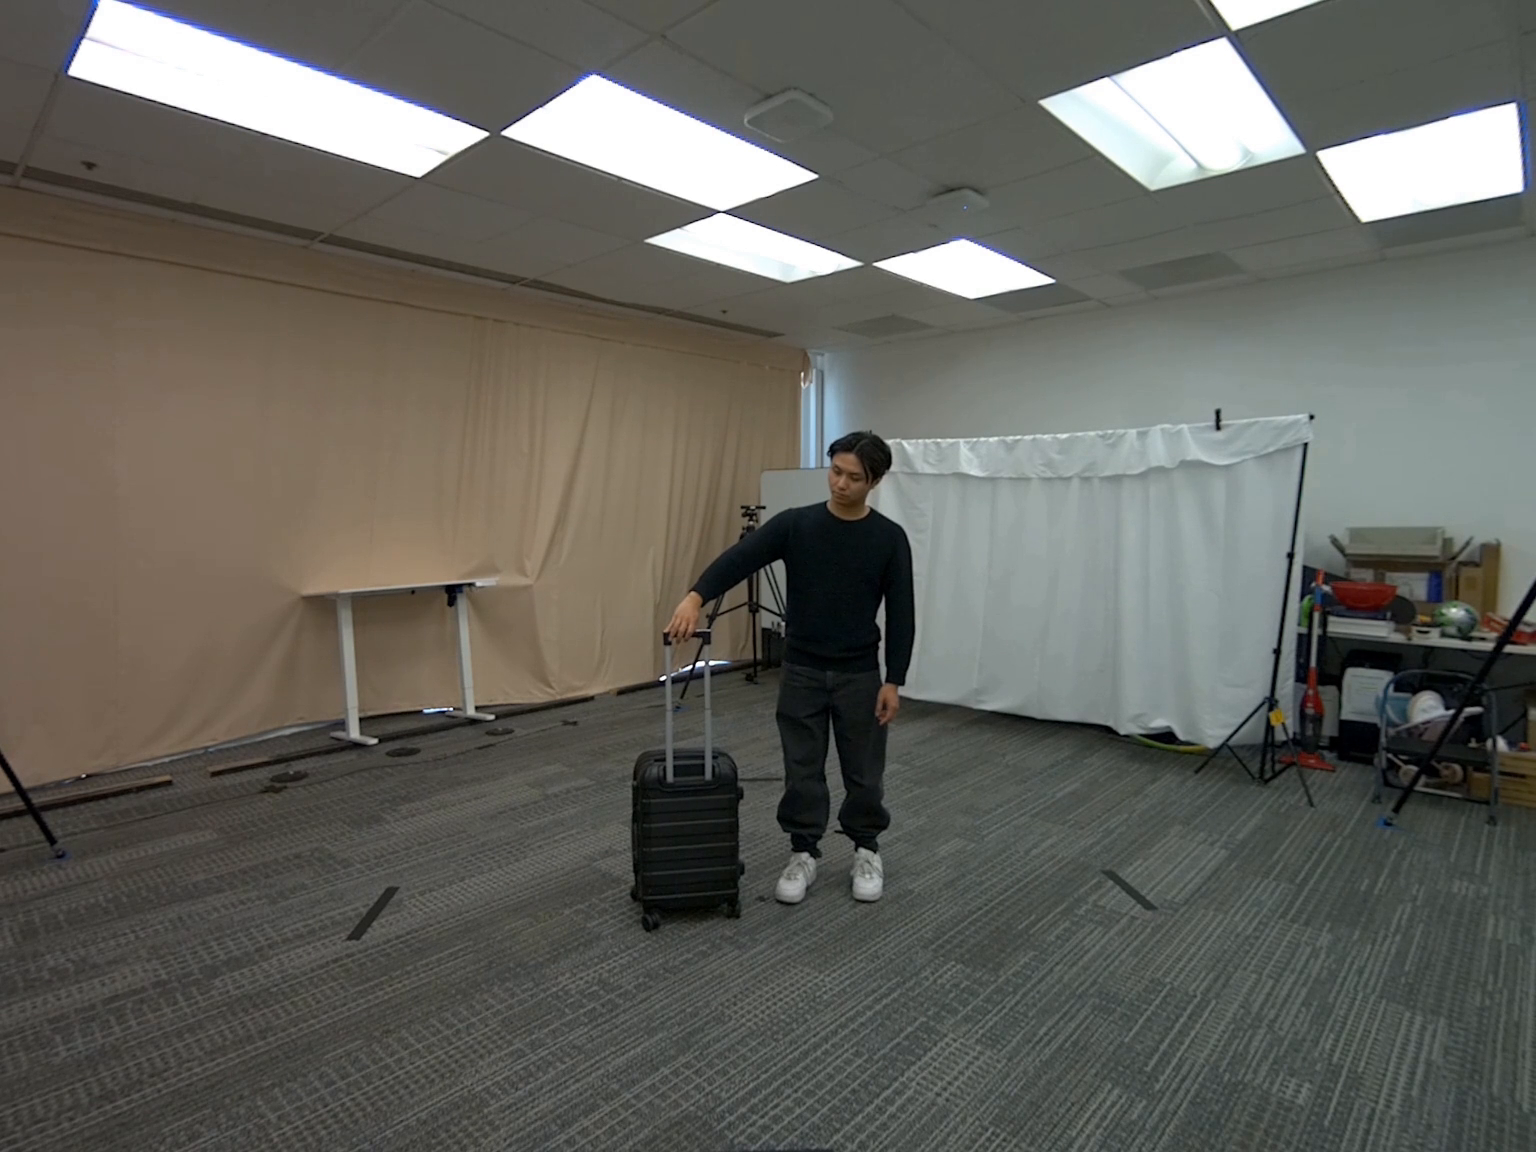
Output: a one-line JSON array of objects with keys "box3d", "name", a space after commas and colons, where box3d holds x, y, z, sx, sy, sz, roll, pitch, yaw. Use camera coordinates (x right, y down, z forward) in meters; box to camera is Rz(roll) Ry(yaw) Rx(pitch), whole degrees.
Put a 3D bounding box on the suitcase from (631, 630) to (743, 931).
[{"box3d": [-0.284, 0.676, 2.897, 0.380, 0.978, 0.259, 0, 0, -9], "name": "suitcase"}]
